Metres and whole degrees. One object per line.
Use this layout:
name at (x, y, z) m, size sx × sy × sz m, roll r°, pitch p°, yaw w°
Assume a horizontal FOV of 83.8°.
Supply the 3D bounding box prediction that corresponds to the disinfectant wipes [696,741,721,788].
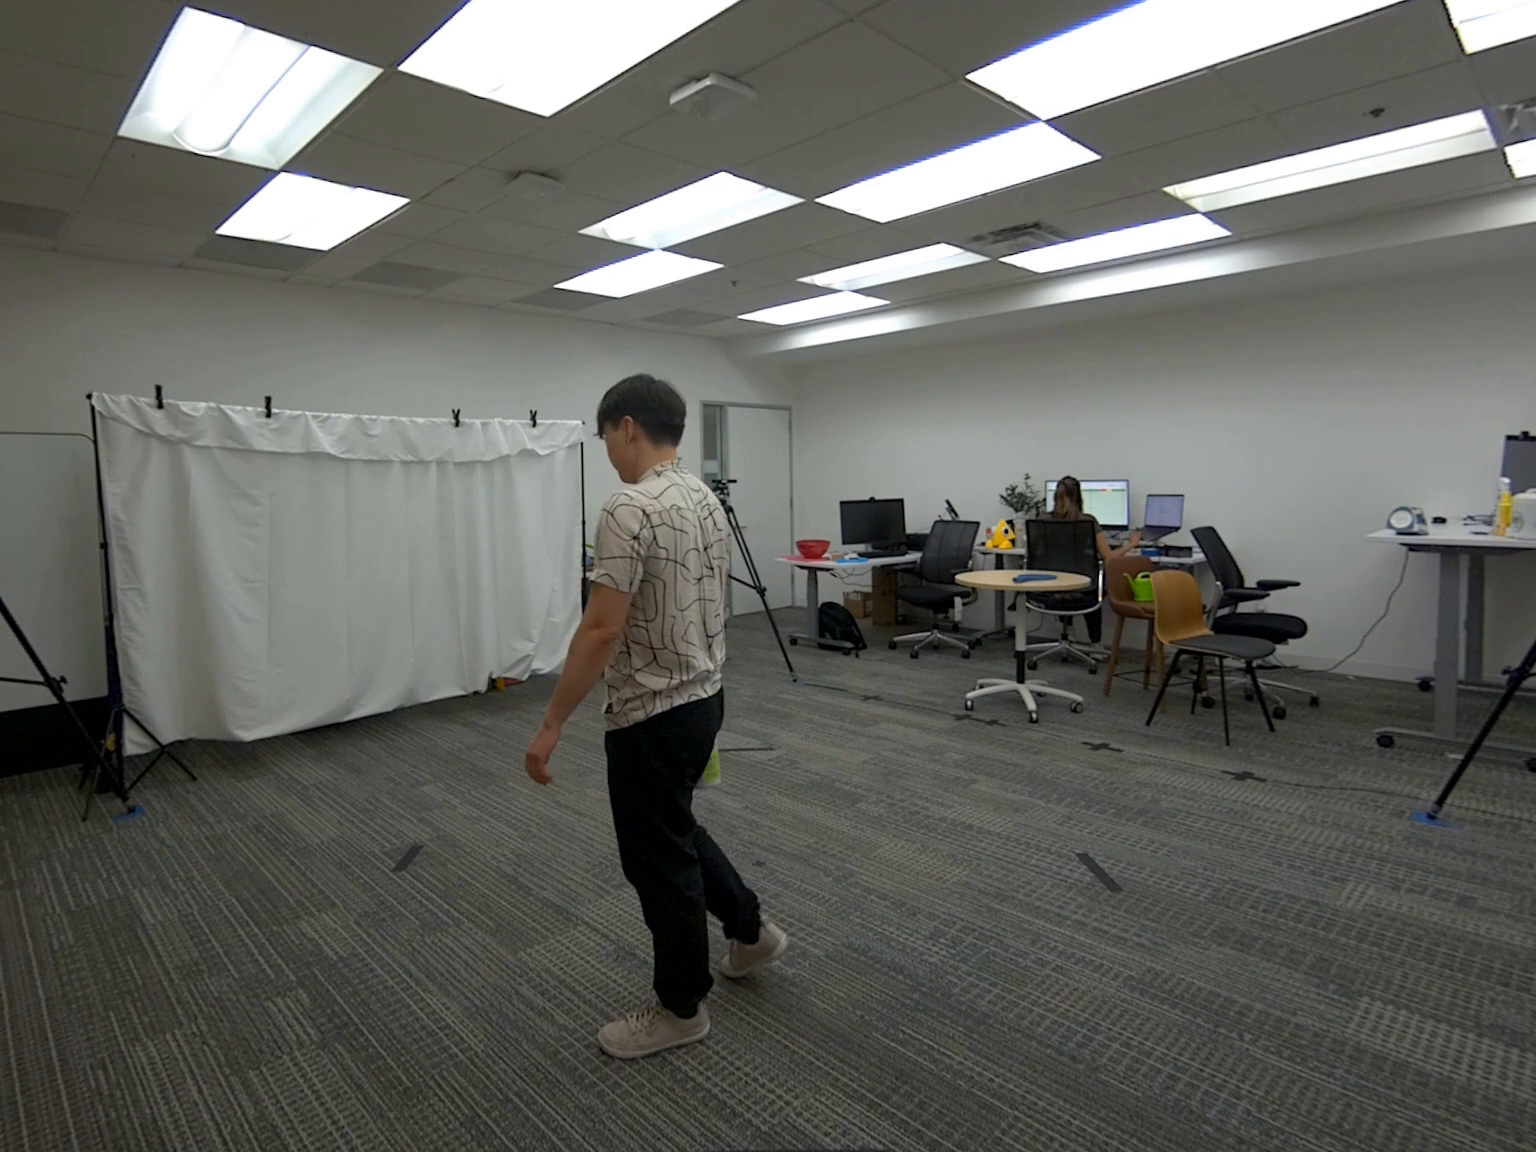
disinfectant wipes at (-0.195, 0.497, 2.454) m, size 0.118 × 0.218 × 0.117 m, roll -5°, pitch -2°, yaw -2°
